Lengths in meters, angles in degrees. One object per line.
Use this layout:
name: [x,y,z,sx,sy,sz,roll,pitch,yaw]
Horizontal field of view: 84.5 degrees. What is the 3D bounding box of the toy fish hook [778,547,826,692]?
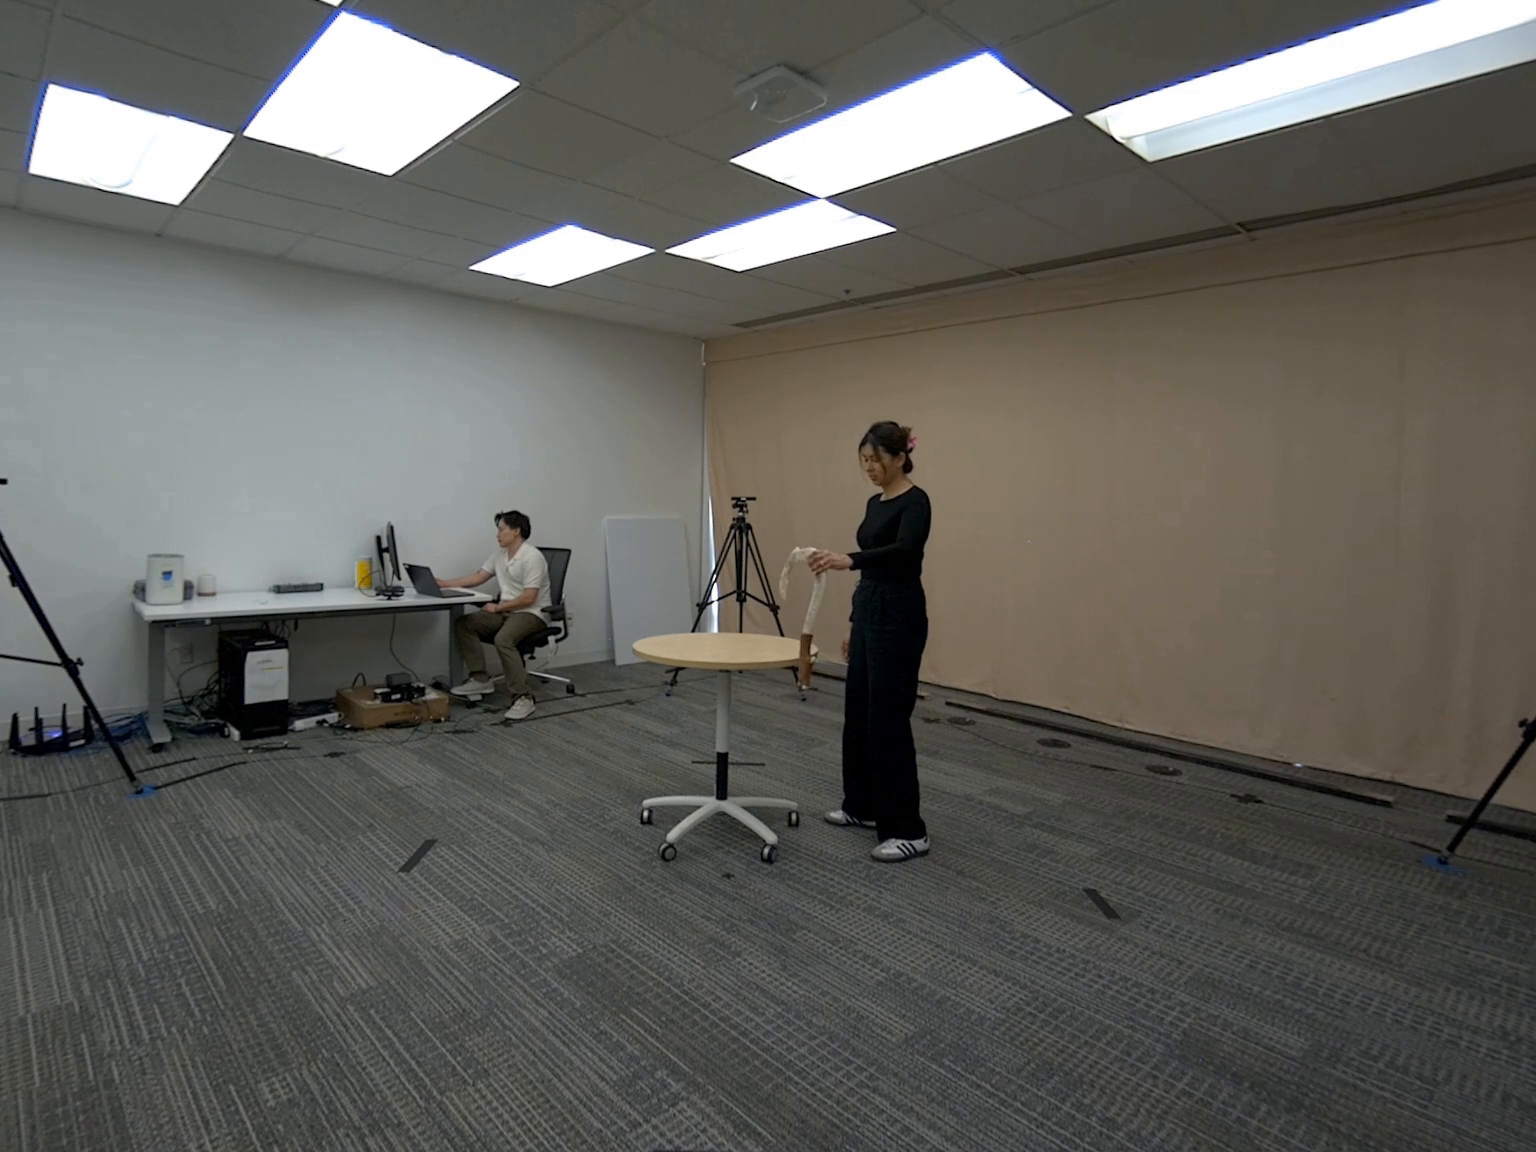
toy fish hook: [0.107,0.155,3.030,0.047,0.508,0.230,7,-4,-38]
